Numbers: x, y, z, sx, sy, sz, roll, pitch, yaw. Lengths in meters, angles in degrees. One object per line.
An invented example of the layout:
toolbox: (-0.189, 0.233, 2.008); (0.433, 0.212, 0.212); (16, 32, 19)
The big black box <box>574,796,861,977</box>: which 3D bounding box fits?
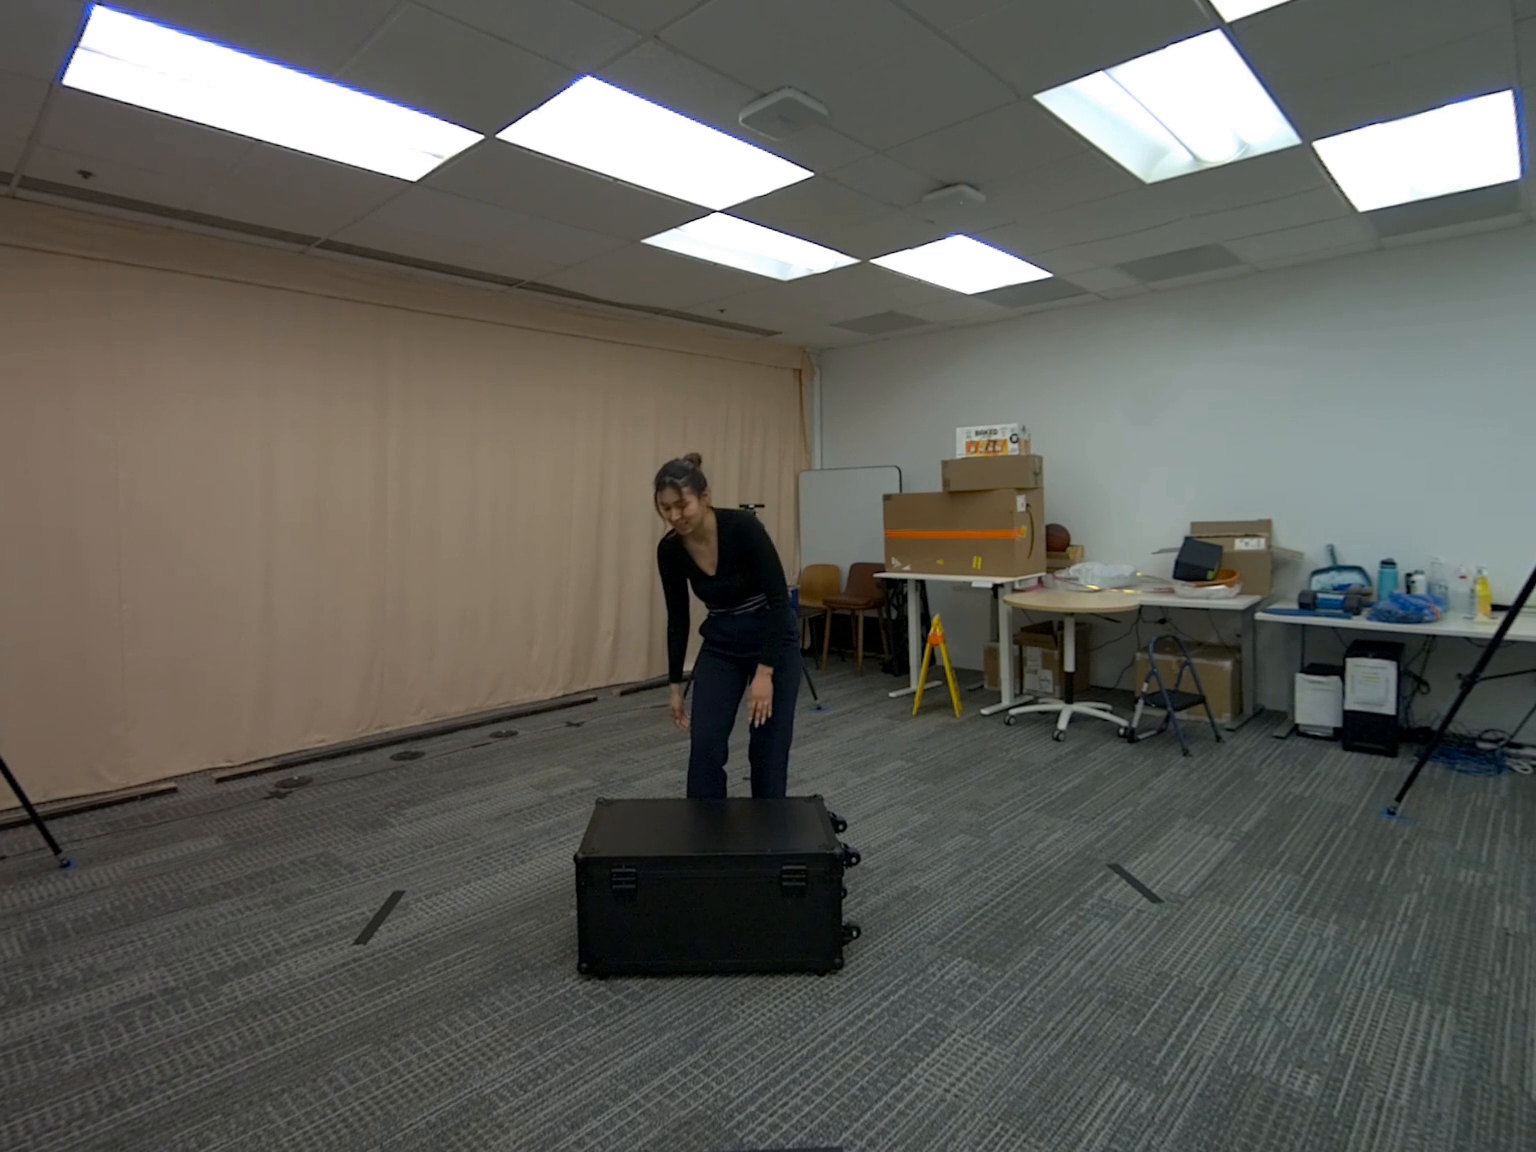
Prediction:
big black box: (-0.149, 0.974, 2.693); (0.861, 0.395, 0.523); (-1, 4, -1)
